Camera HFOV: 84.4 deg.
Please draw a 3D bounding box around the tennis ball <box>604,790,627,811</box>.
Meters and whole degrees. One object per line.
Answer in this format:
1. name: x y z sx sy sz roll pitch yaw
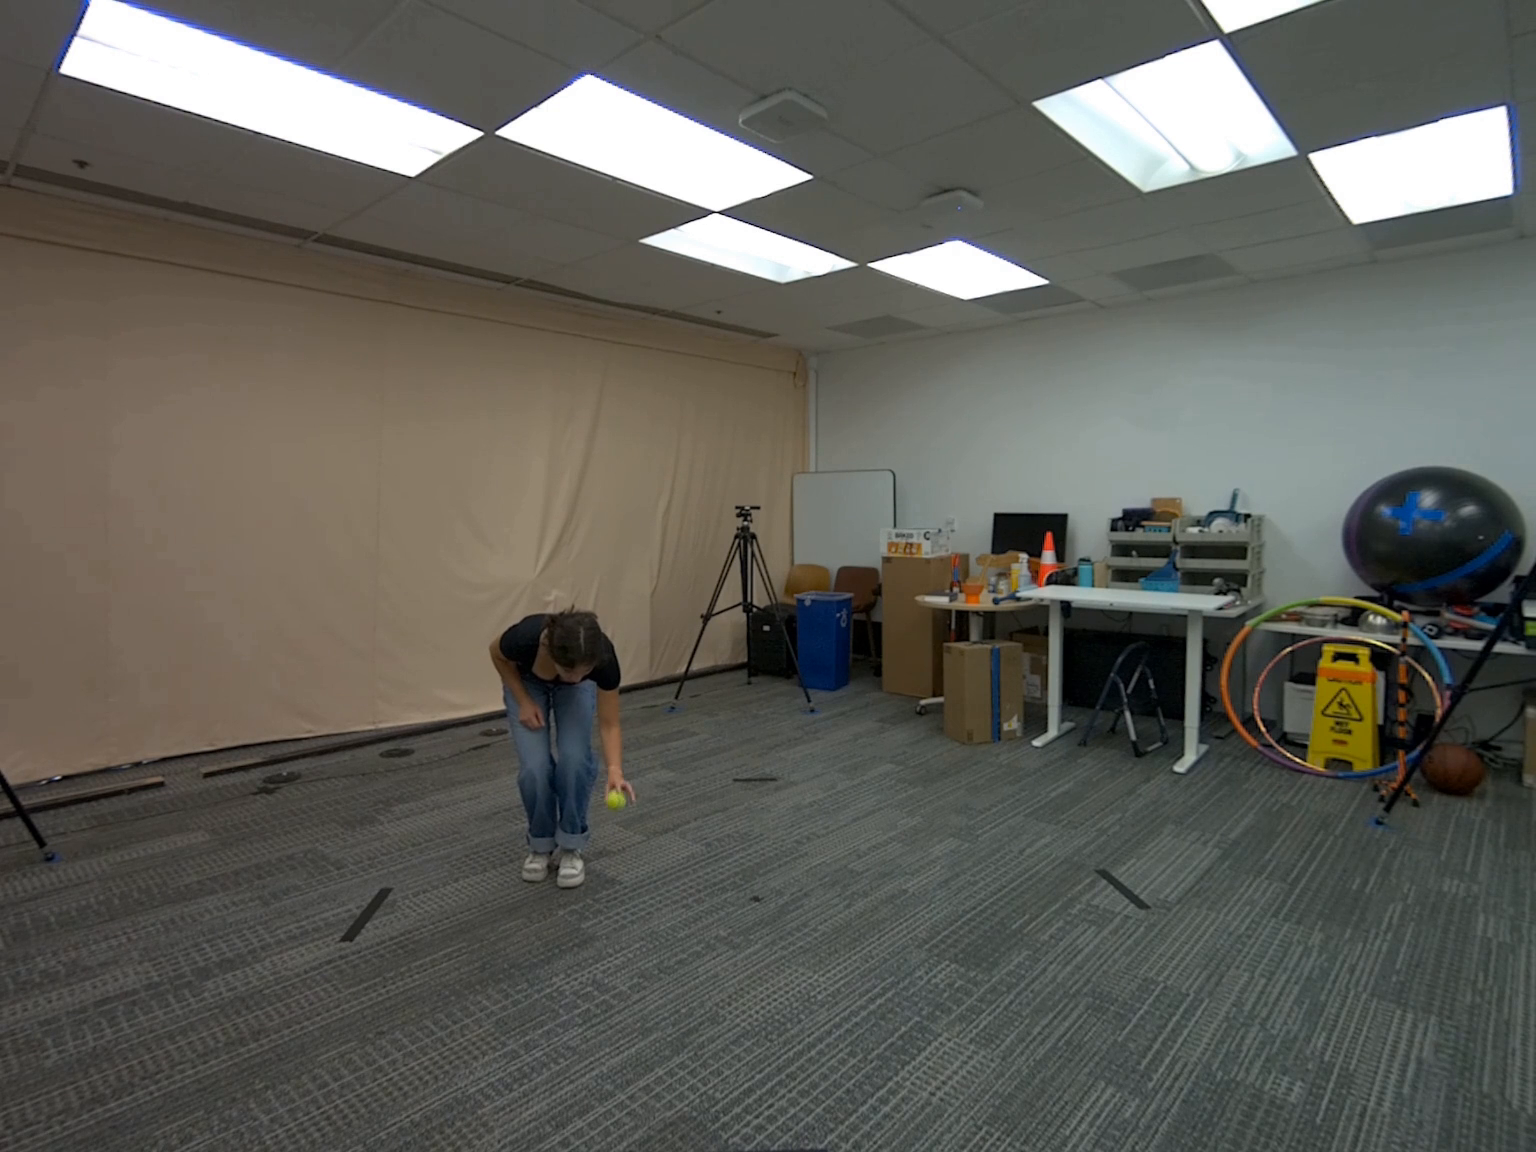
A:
1. tennis ball: -0.499 0.772 2.793 0.066 0.066 0.067 0 4 -2
